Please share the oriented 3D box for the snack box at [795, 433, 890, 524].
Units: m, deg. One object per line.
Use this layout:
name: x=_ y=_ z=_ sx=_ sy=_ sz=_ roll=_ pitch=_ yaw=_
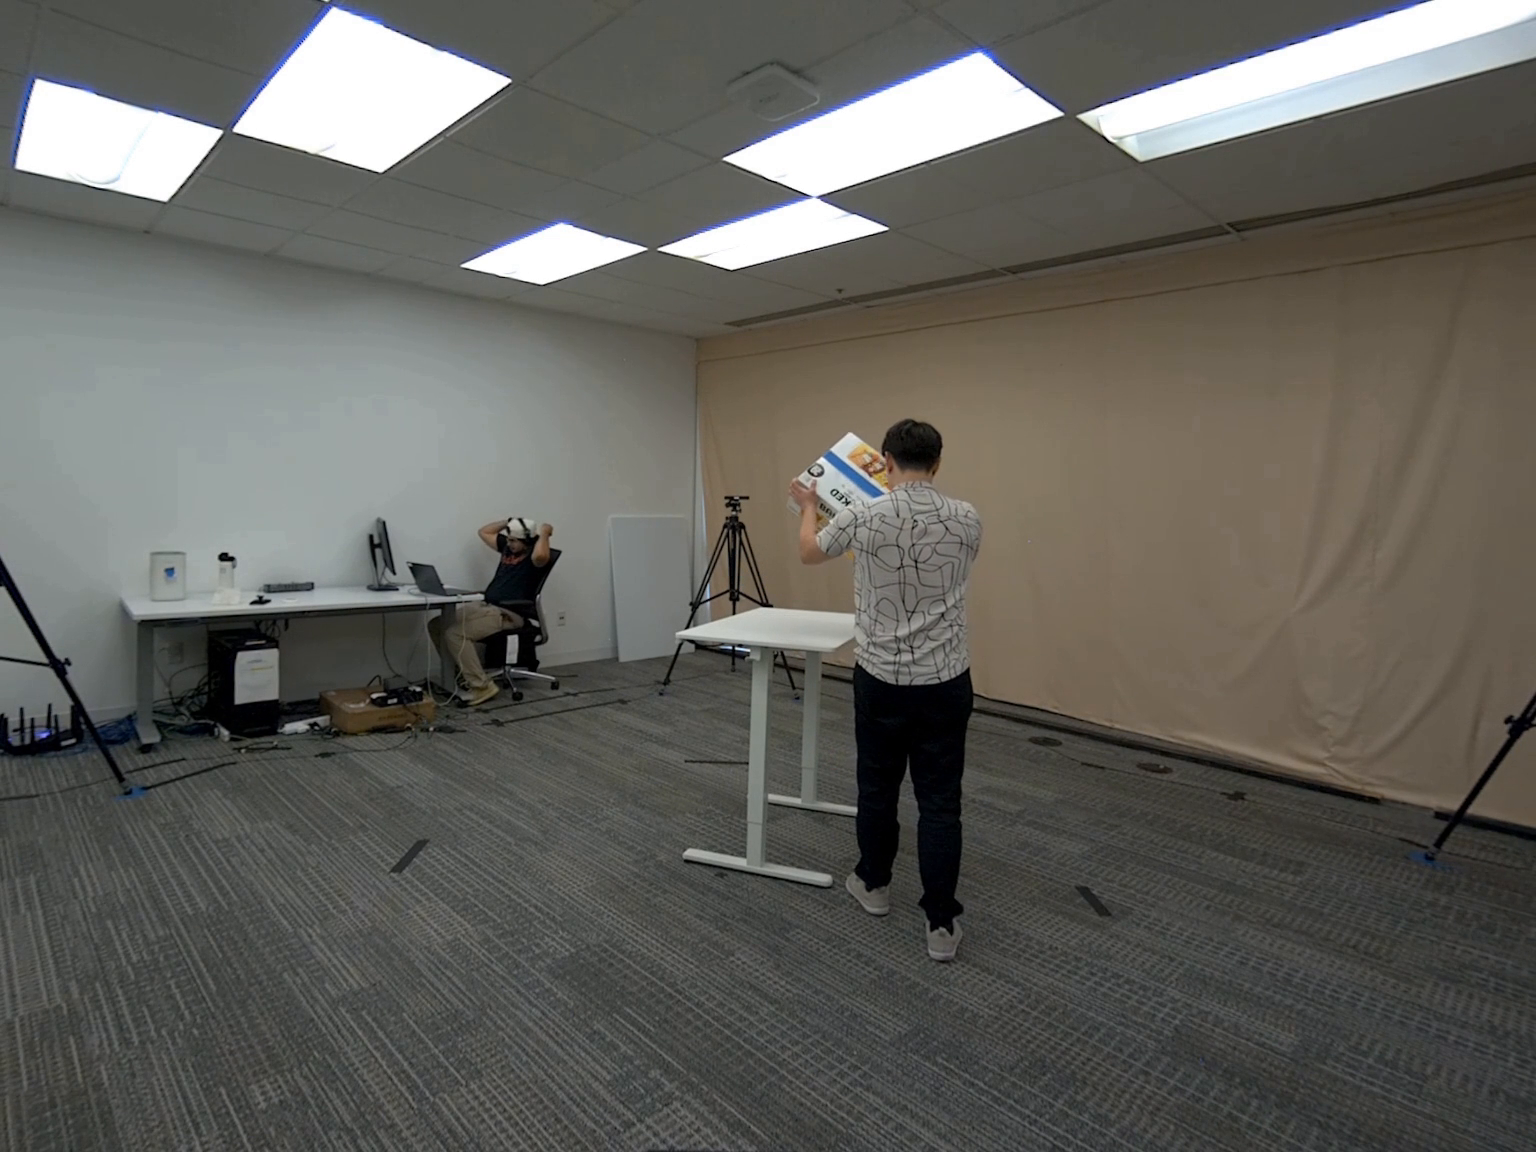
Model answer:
snack box: x=0.342 y=-0.287 z=3.266 sx=0.339 sy=0.412 sz=0.203 roll=-42 pitch=-17 yaw=-29
